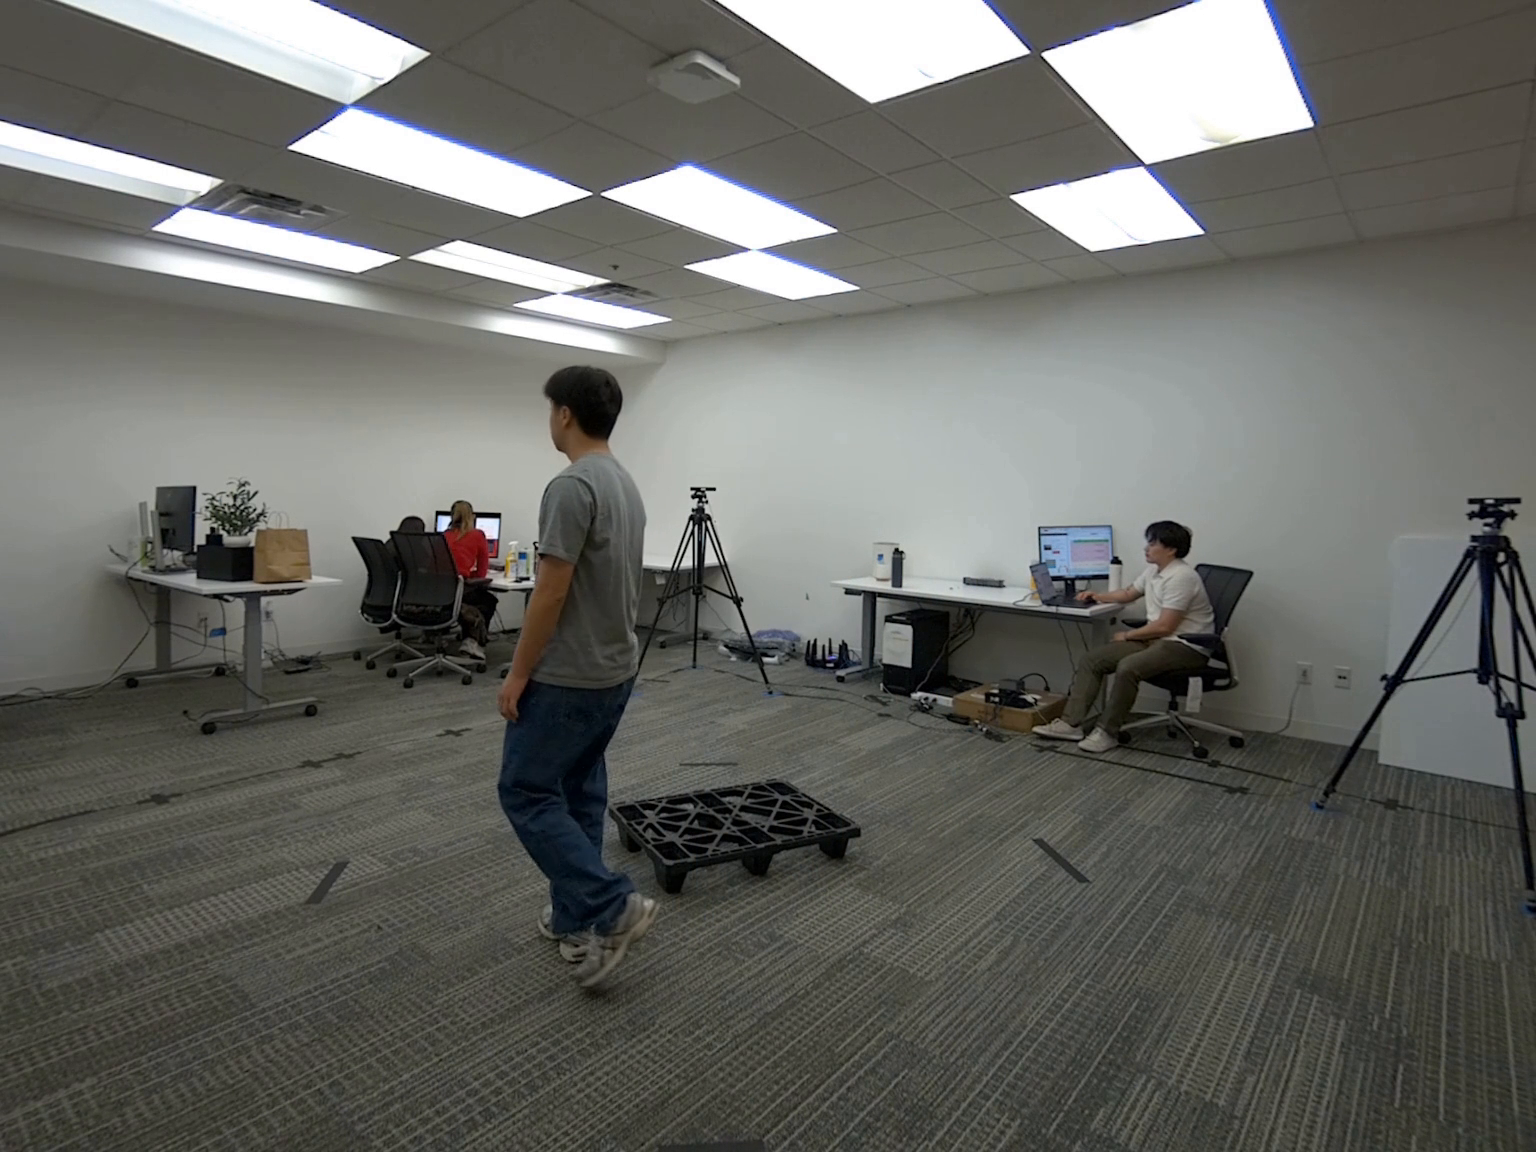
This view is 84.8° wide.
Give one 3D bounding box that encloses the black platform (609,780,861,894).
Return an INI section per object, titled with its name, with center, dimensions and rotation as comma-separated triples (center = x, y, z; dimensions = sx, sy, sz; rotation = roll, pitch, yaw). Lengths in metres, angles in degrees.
[black platform]
center = -0.144, 0.983, 3.267
dimensions = 0.785, 0.143, 0.623
rotation = -2, 7, -28
